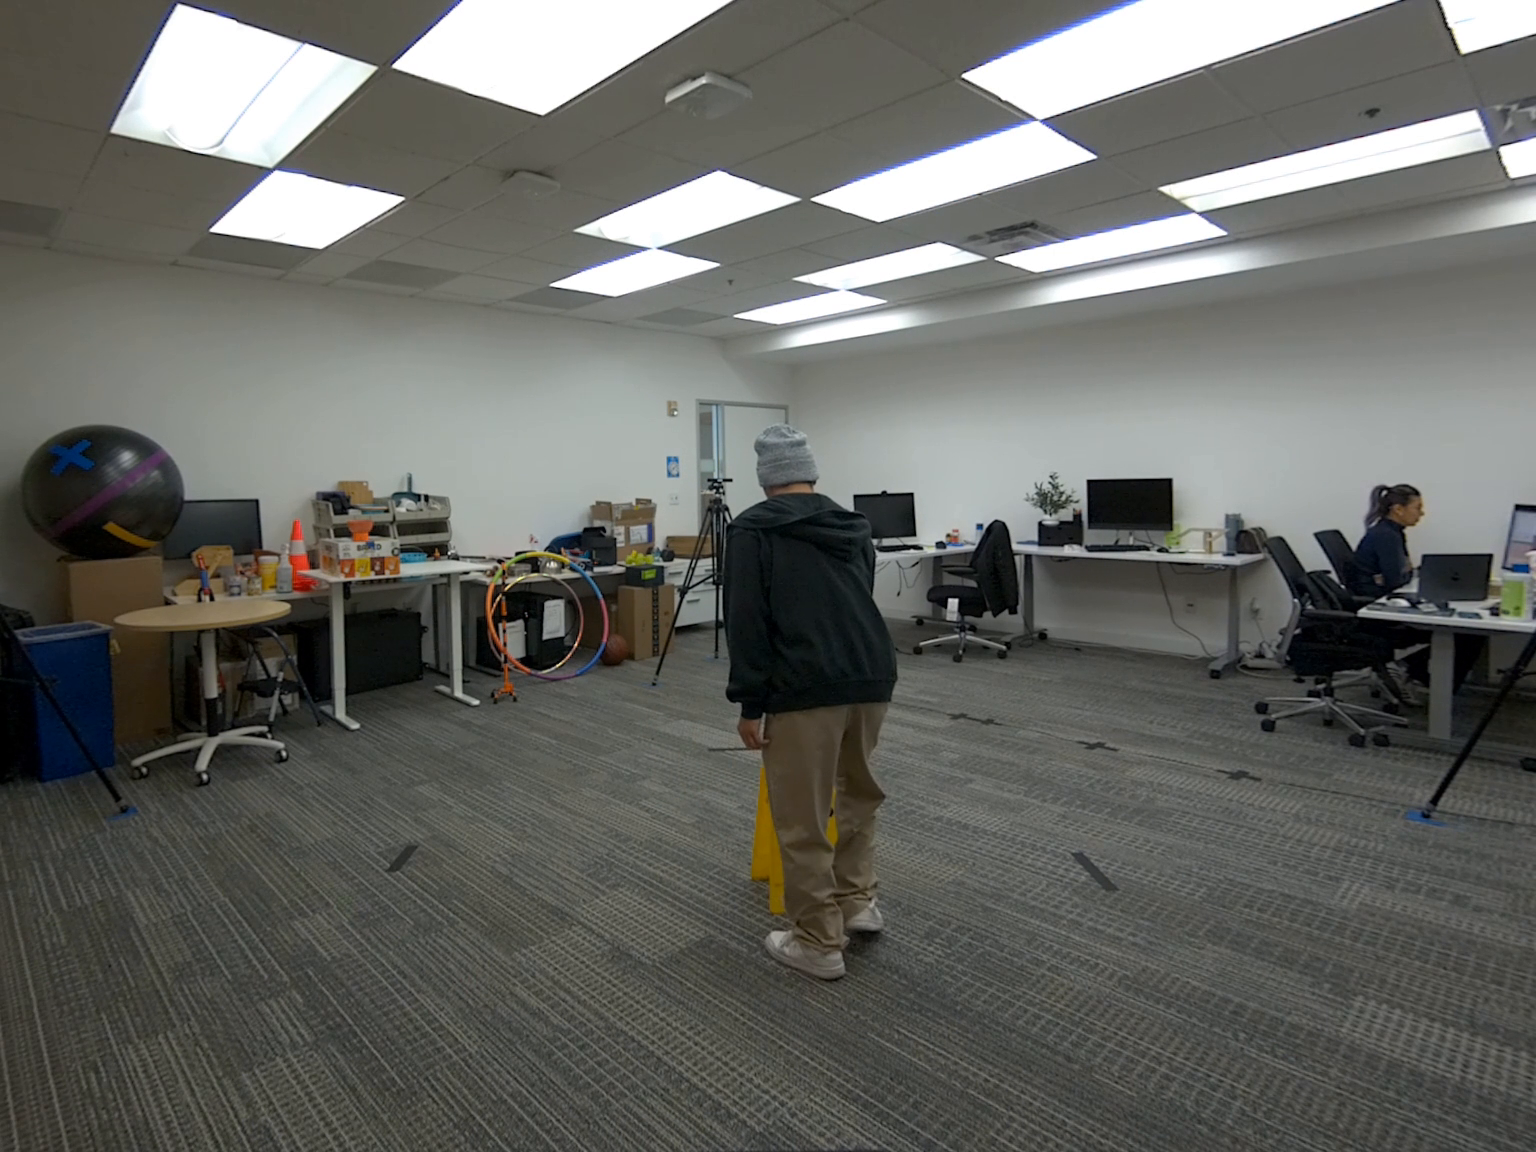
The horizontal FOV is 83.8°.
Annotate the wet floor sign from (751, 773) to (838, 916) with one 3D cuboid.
[{"bbox_3d":[0.117,0.740,2.870,0.278,0.644,0.295,-3,4,-16],"label":"wet floor sign"}]
